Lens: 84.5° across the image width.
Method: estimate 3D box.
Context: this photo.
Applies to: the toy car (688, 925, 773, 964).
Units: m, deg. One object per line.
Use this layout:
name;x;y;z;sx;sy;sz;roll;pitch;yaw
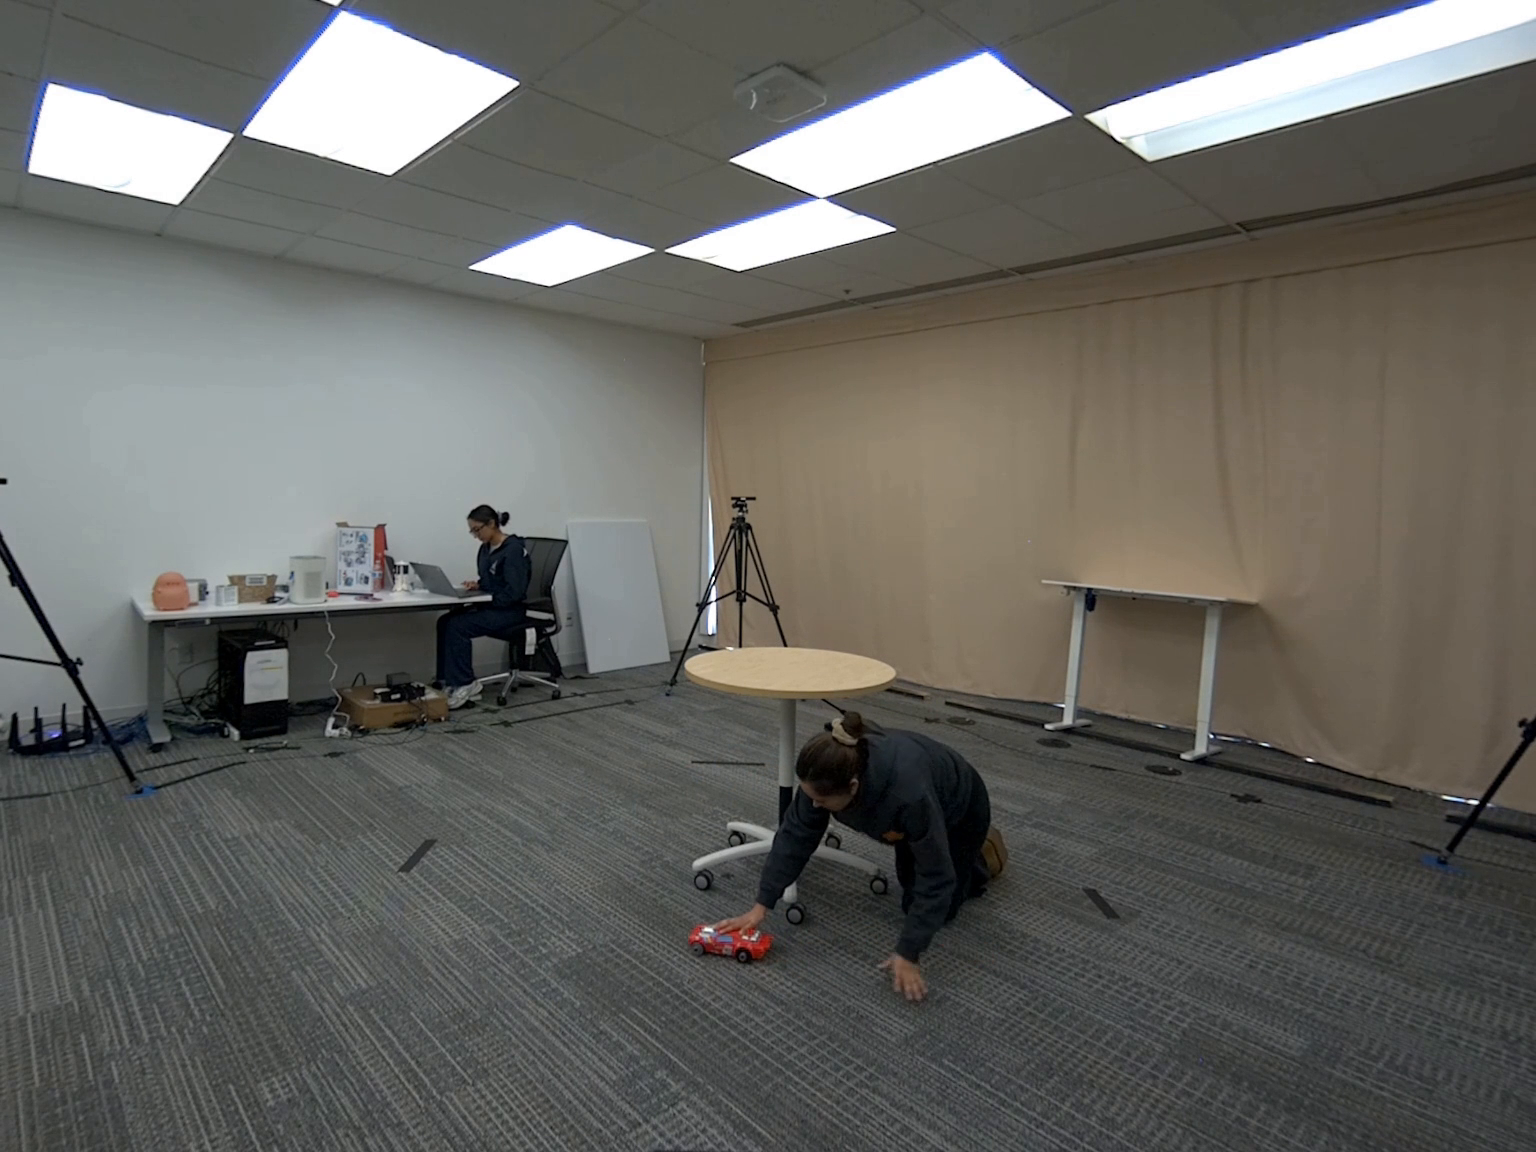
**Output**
toy car;-0.114;1.122;2.591;0.257;0.083;0.129;-9;1;13
